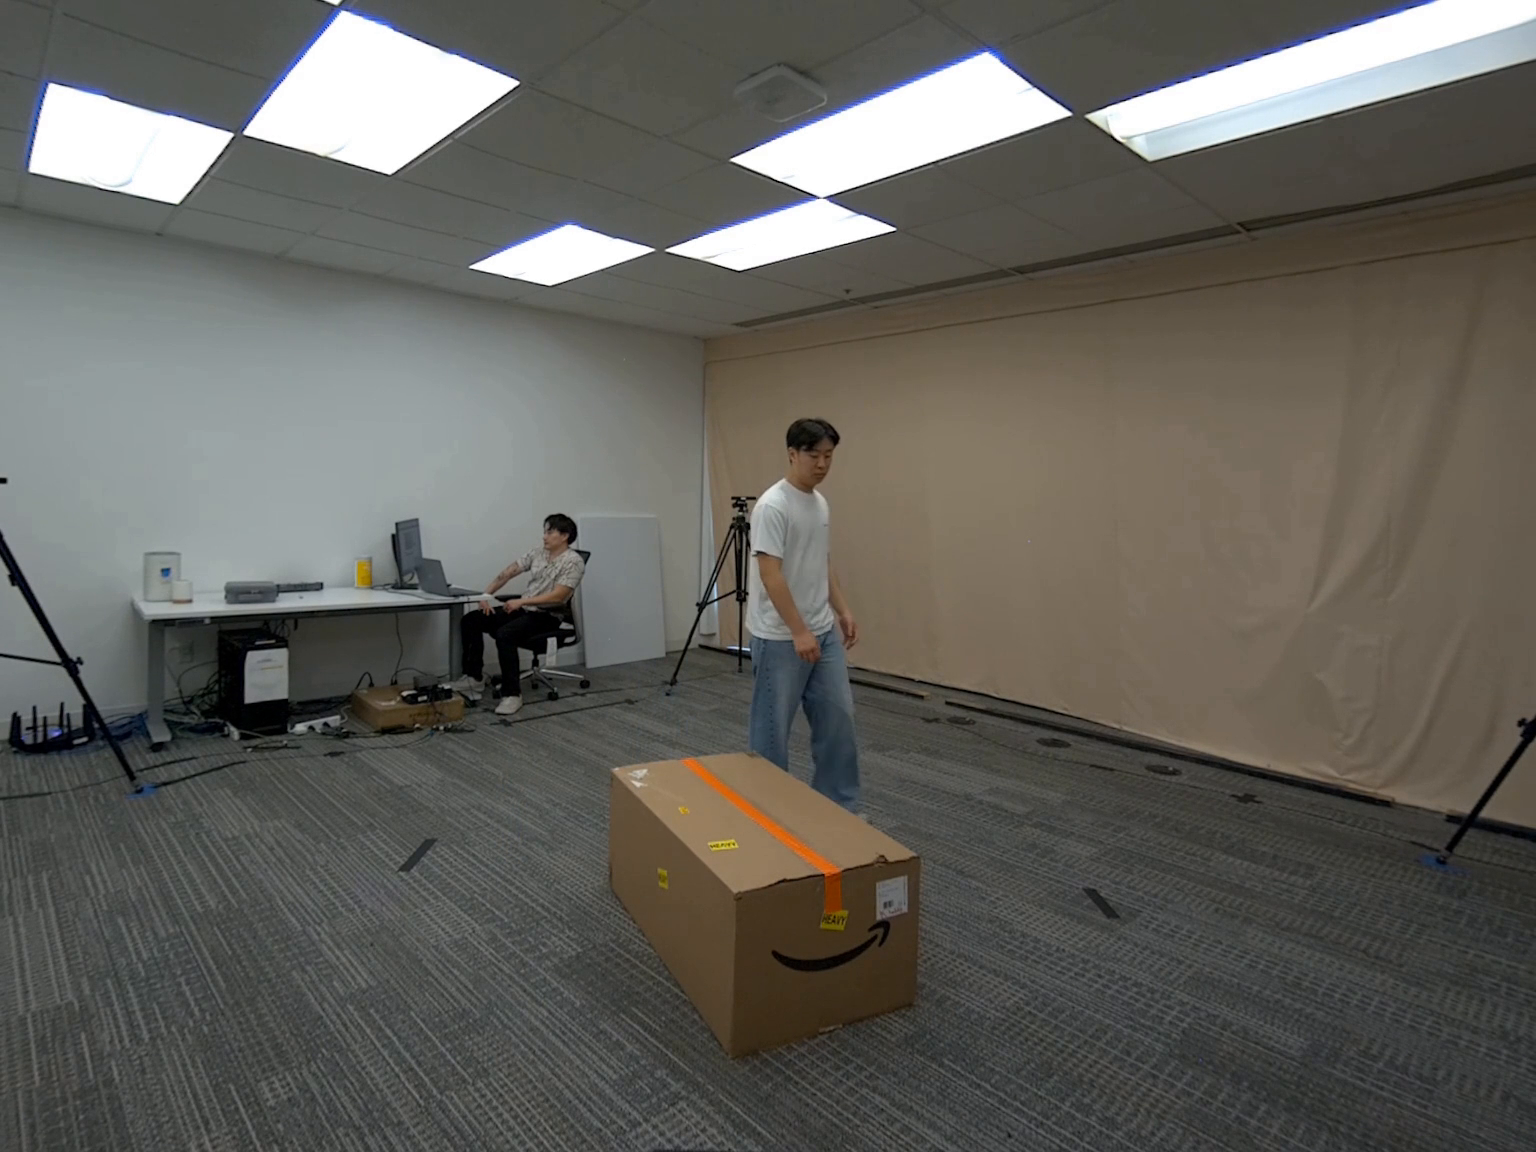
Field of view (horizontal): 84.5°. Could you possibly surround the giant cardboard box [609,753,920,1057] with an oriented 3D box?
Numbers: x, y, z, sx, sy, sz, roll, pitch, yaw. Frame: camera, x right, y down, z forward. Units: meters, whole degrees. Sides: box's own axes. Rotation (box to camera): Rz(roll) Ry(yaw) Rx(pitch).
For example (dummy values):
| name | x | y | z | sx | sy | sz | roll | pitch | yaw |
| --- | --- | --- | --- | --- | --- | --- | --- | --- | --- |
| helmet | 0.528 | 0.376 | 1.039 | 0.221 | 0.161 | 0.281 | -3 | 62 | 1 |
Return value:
| name | x | y | z | sx | sy | sz | roll | pitch | yaw |
| --- | --- | --- | --- | --- | --- | --- | --- | --- | --- |
| giant cardboard box | -0.079 | 0.935 | 2.654 | 0.567 | 0.425 | 1.048 | -1 | 6 | -27 |
